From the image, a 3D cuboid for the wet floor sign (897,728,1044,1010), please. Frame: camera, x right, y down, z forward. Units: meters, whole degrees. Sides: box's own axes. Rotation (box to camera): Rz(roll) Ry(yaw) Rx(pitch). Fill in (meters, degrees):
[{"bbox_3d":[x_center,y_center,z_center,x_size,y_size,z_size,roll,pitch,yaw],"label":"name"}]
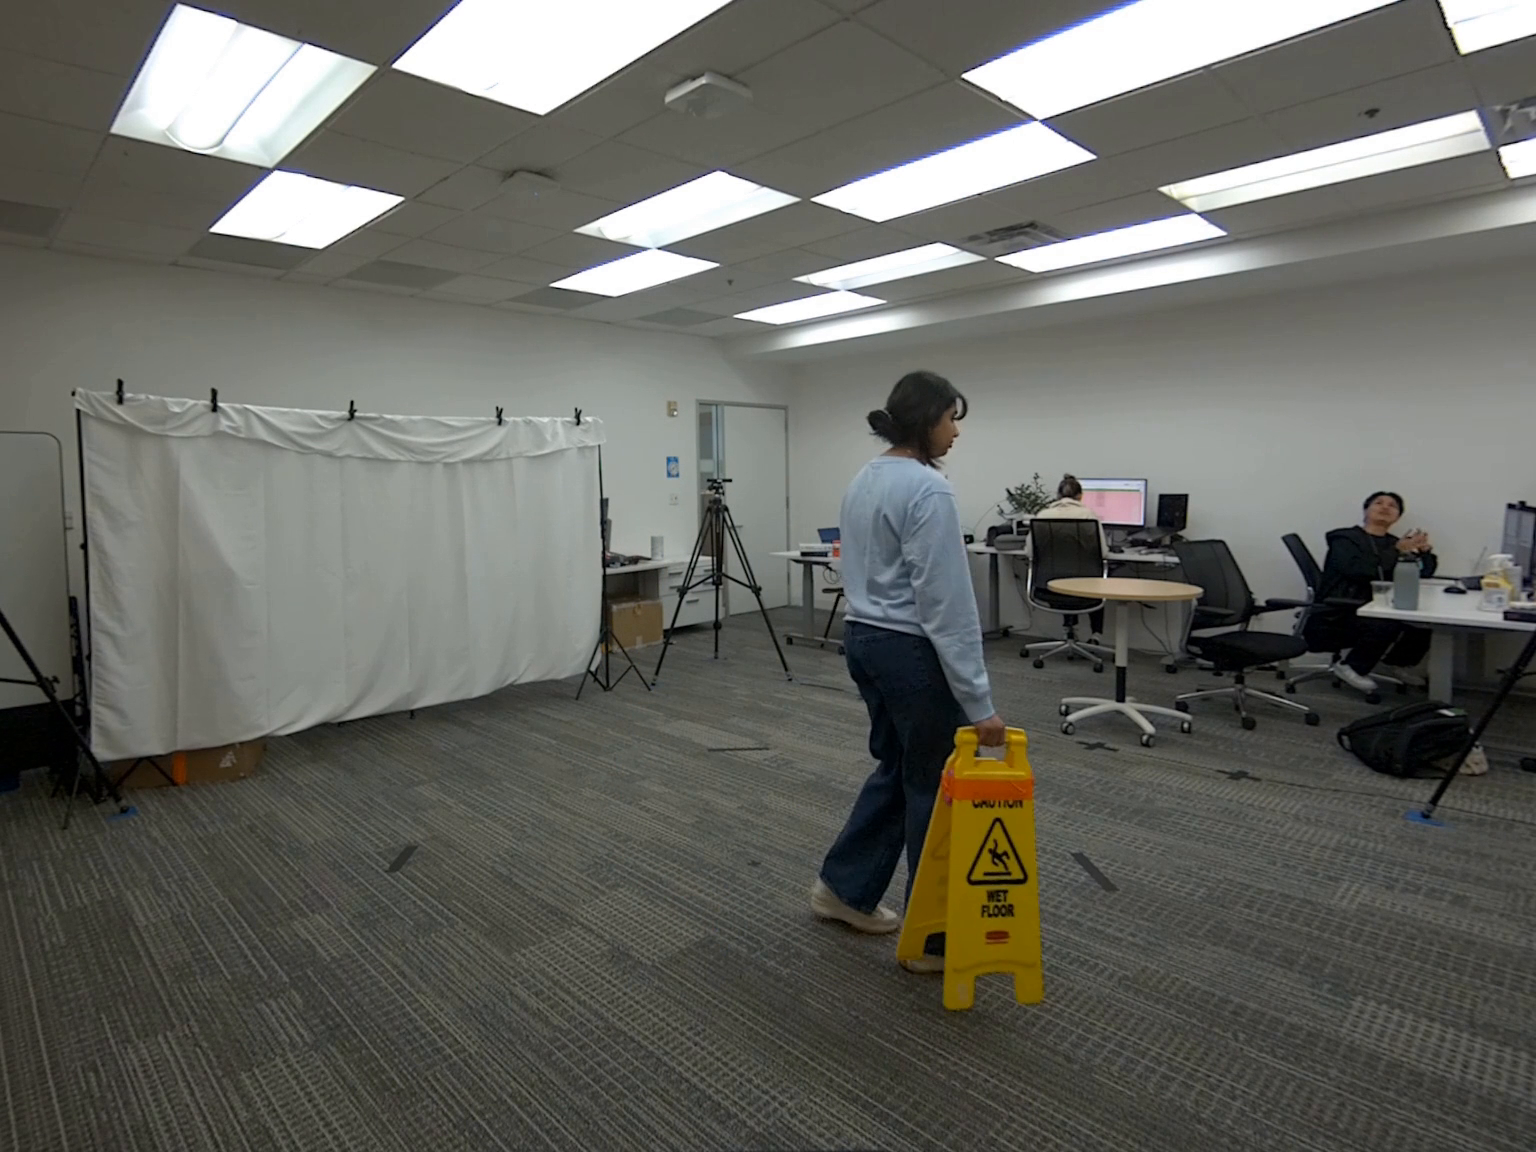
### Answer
[{"bbox_3d":[0.545,0.719,2.193,0.277,0.646,0.295,6,0,-20],"label":"wet floor sign"}]
